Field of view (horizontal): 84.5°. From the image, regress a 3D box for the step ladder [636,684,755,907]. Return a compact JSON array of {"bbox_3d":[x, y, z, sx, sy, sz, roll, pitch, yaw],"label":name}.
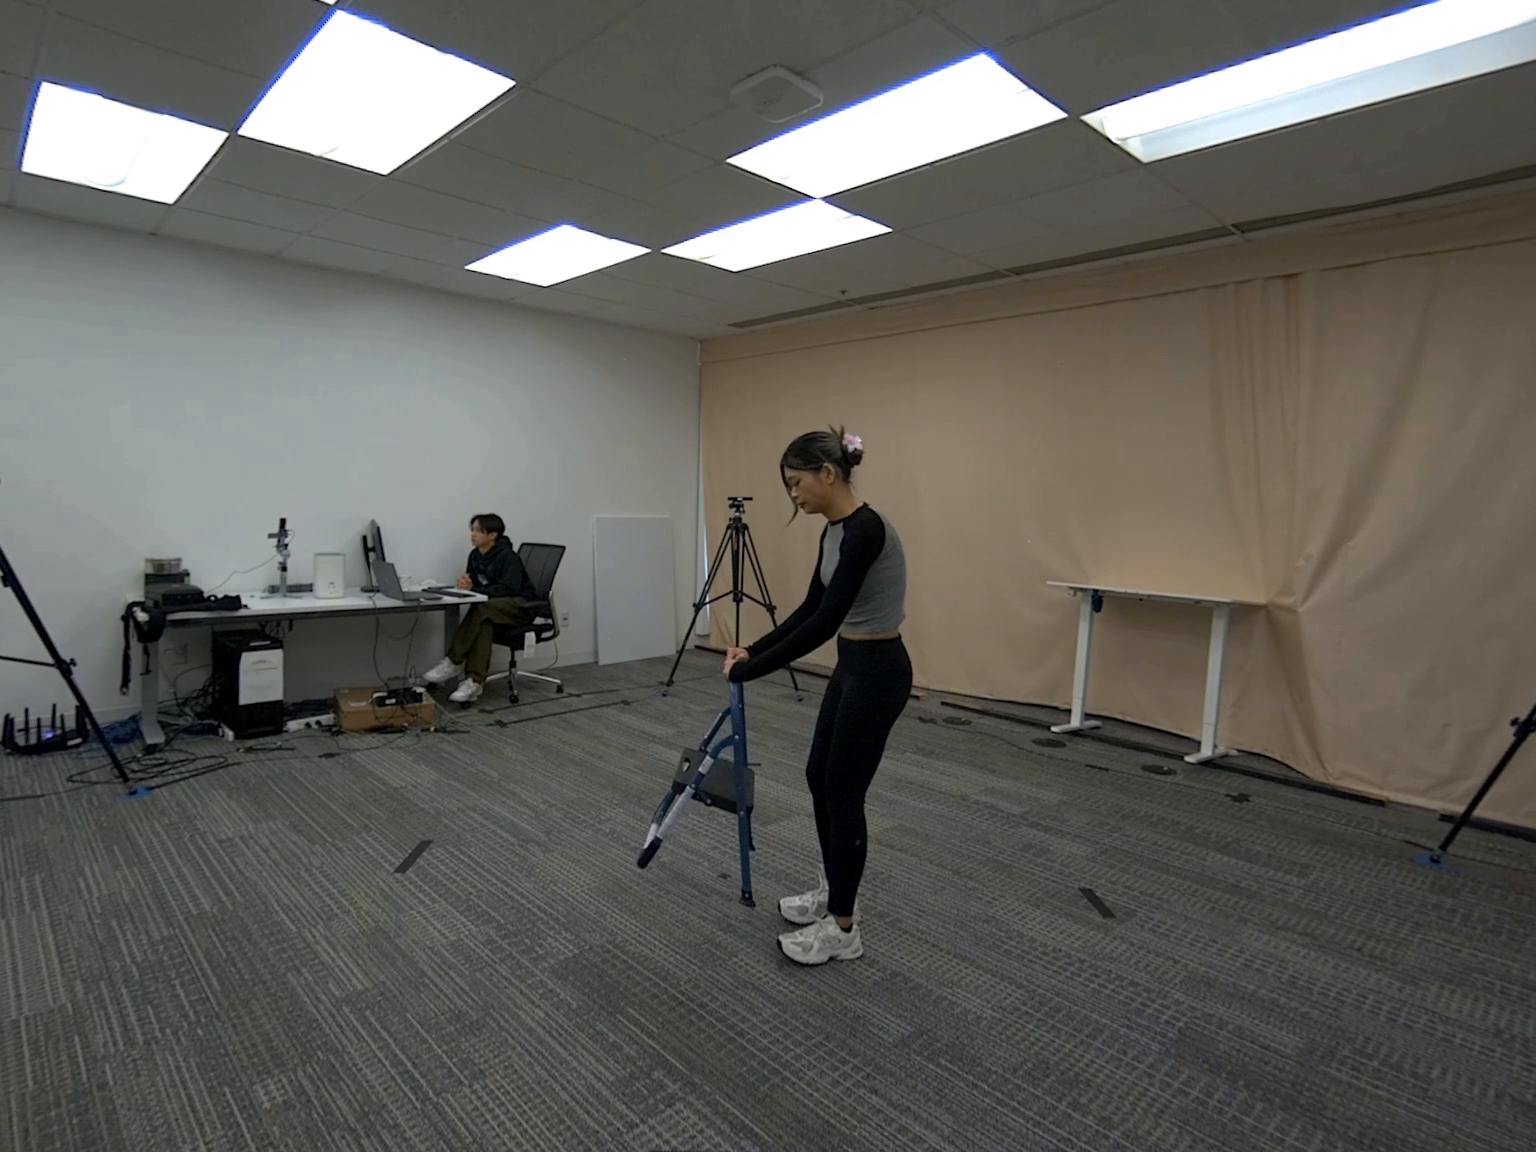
[{"bbox_3d":[-0.124,0.579,2.534,0.349,0.605,0.432,17,2,-2],"label":"step ladder"}]
